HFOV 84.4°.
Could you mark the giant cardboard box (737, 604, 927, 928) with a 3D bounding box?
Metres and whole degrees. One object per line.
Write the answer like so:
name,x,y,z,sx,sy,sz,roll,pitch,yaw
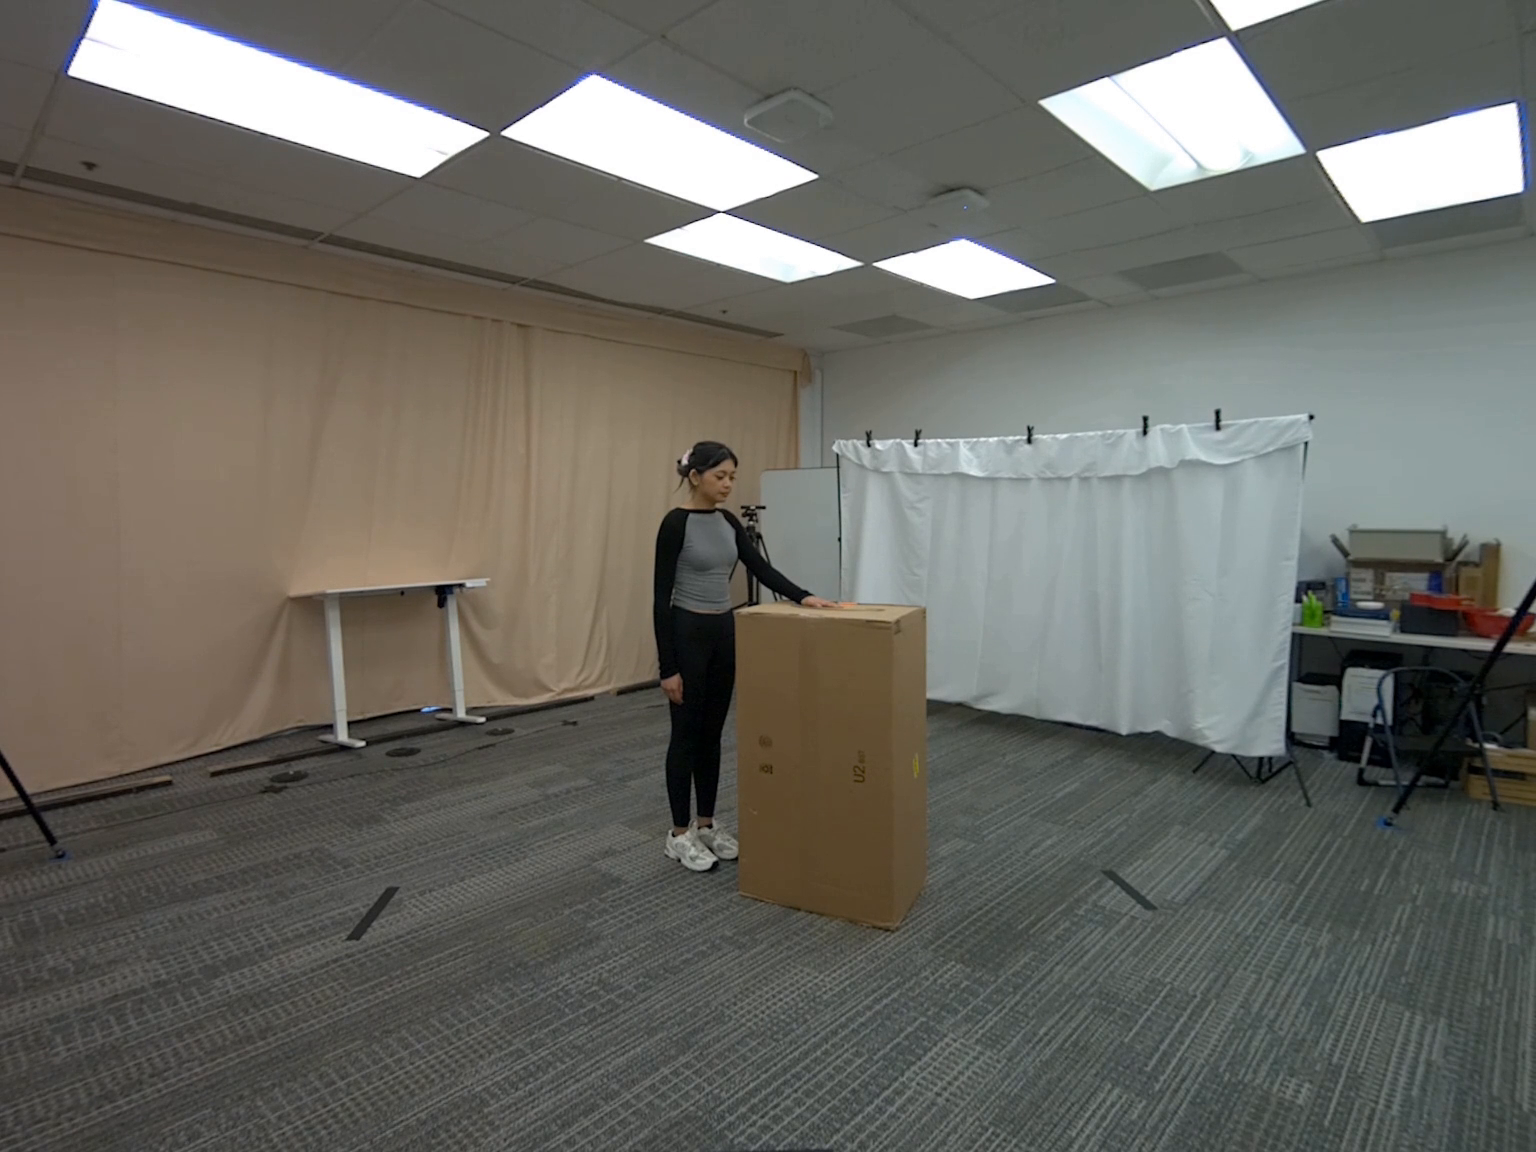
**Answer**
giant cardboard box,0.244,0.633,3.039,0.599,1.024,0.436,1,4,26
